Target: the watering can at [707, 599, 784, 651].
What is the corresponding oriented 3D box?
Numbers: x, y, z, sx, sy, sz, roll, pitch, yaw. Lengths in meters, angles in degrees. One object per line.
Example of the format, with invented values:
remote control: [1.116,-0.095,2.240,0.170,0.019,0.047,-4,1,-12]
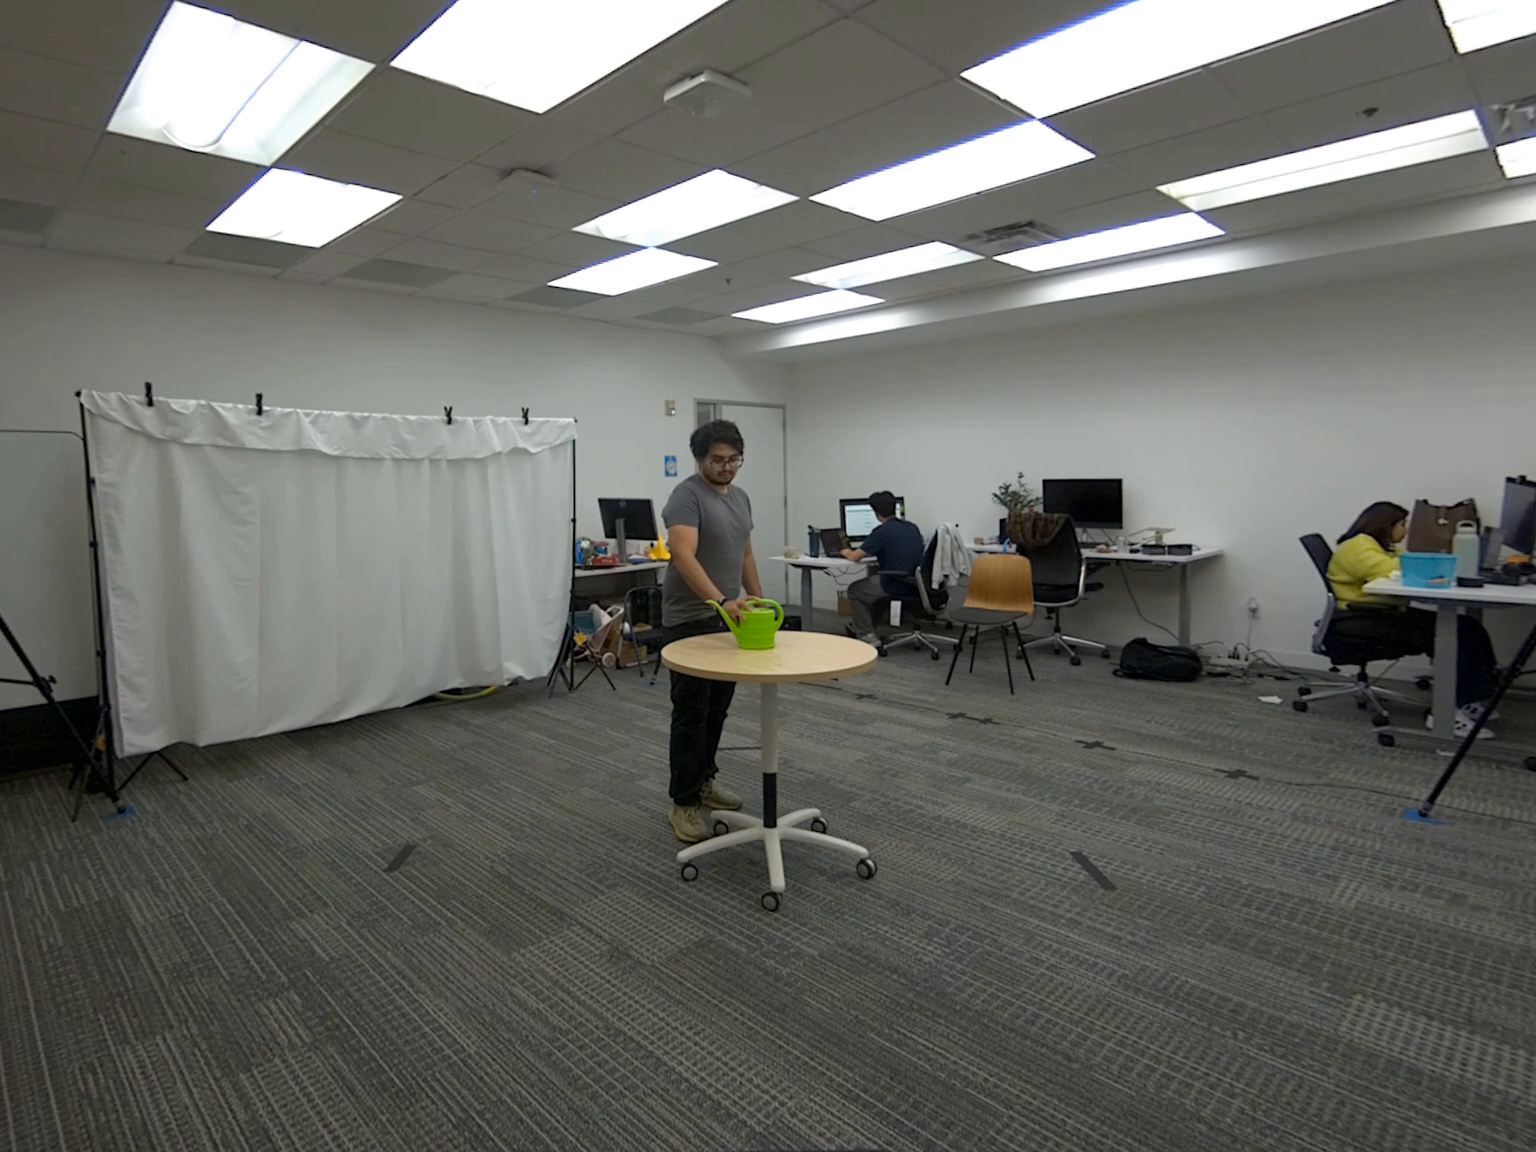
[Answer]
watering can: [-0.087,0.176,3.091,0.278,0.176,0.098,2,5,1]
